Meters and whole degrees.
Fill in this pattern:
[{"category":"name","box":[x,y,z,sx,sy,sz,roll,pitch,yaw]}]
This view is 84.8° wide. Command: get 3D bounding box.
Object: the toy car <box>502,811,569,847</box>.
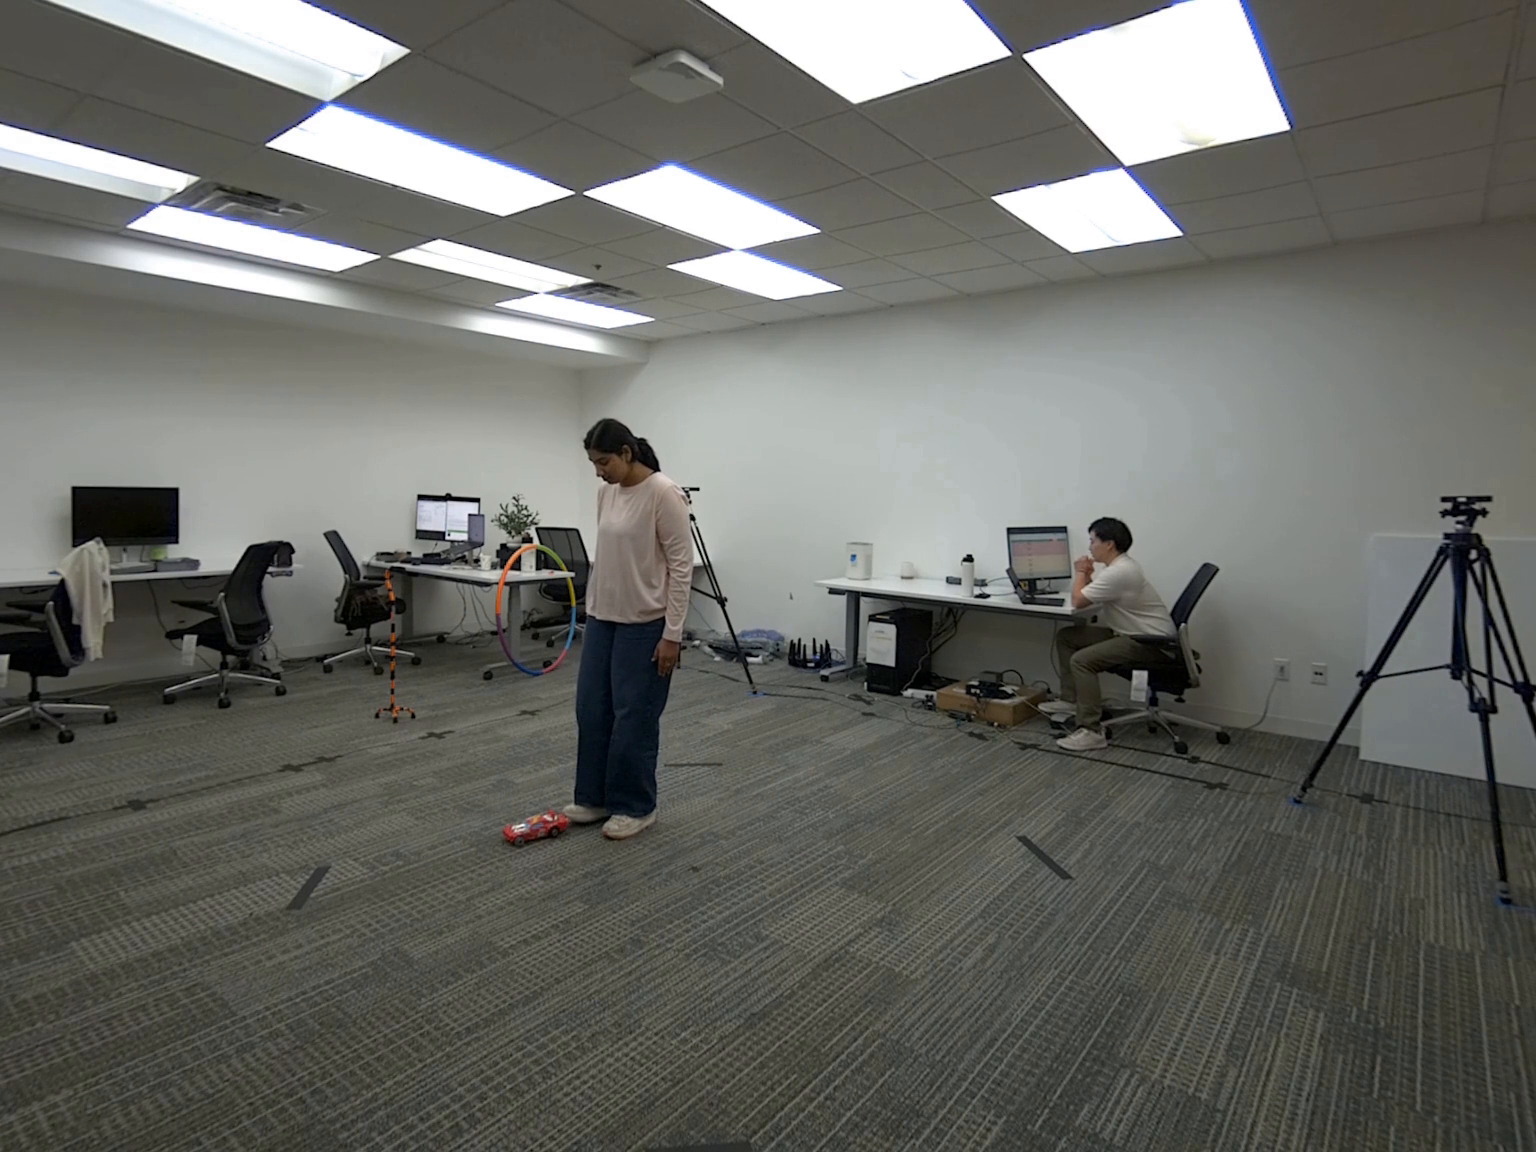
[{"category":"toy car","box":[-0.933,1.000,3.368,0.249,0.082,0.134,-17,12,-35]}]
